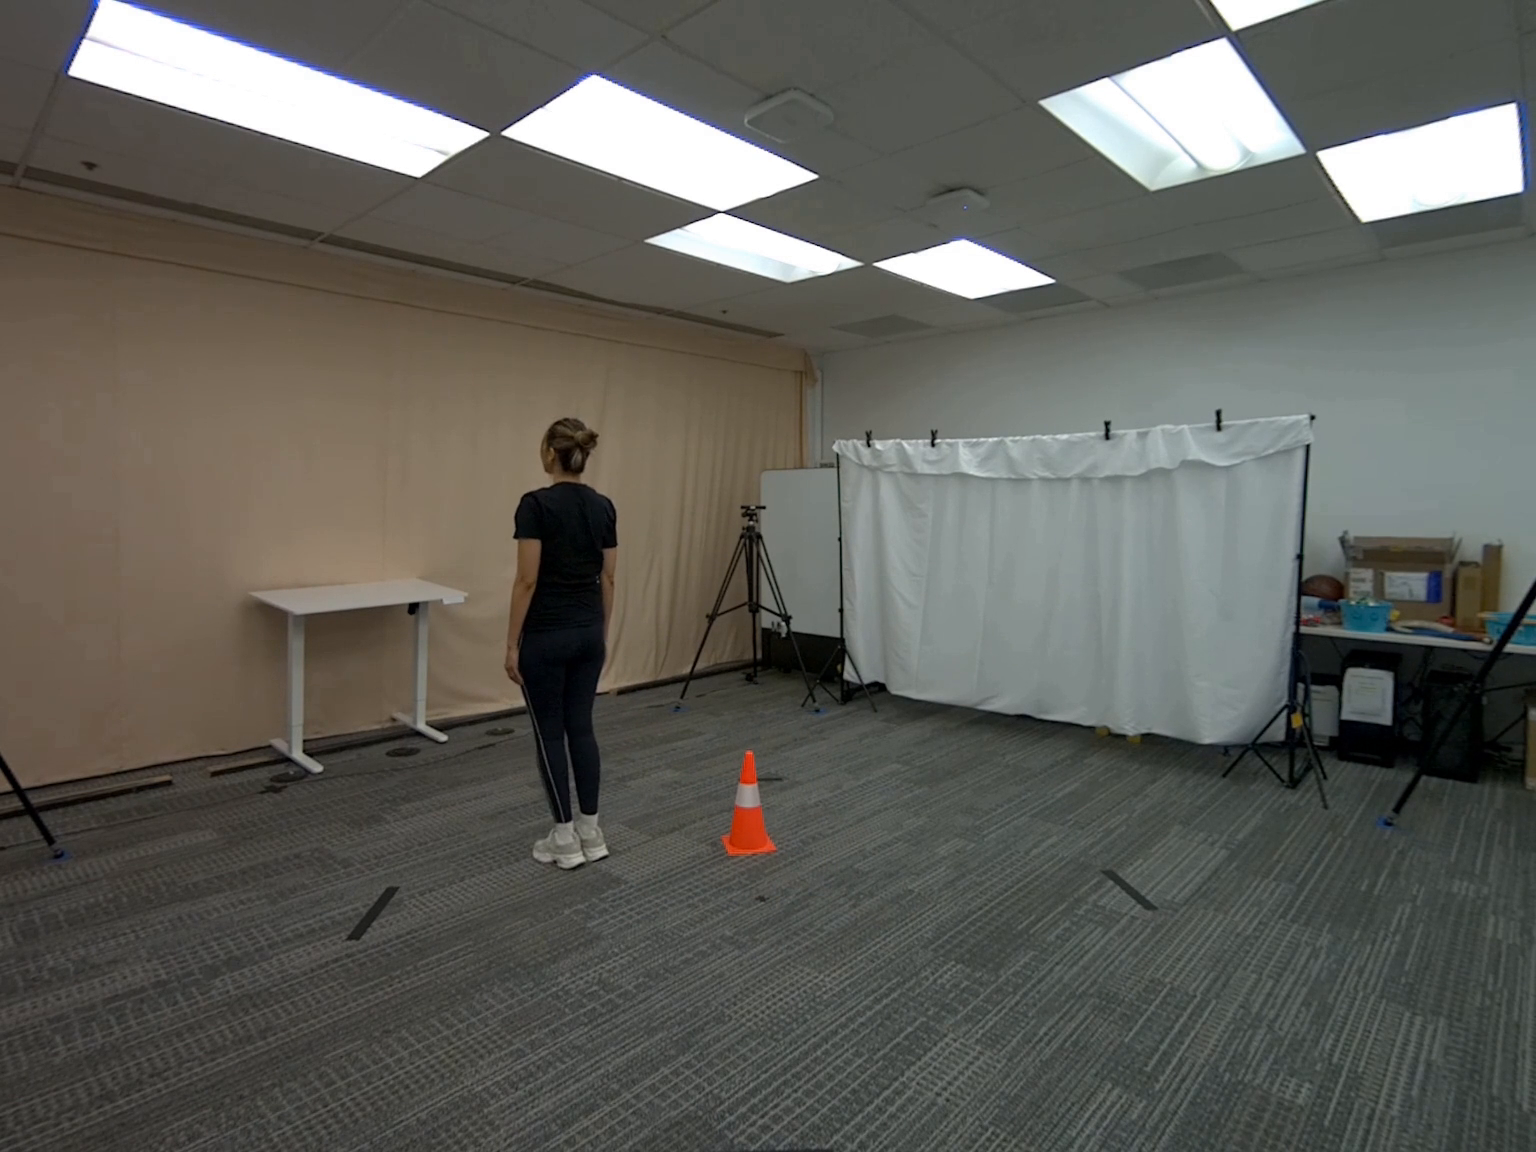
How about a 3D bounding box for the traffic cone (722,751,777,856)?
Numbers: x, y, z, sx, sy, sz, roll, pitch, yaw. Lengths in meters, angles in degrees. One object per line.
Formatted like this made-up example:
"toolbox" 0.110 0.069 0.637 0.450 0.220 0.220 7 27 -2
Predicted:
"traffic cone" -0.085 0.919 3.462 0.203 0.383 0.205 -1 1 -10
